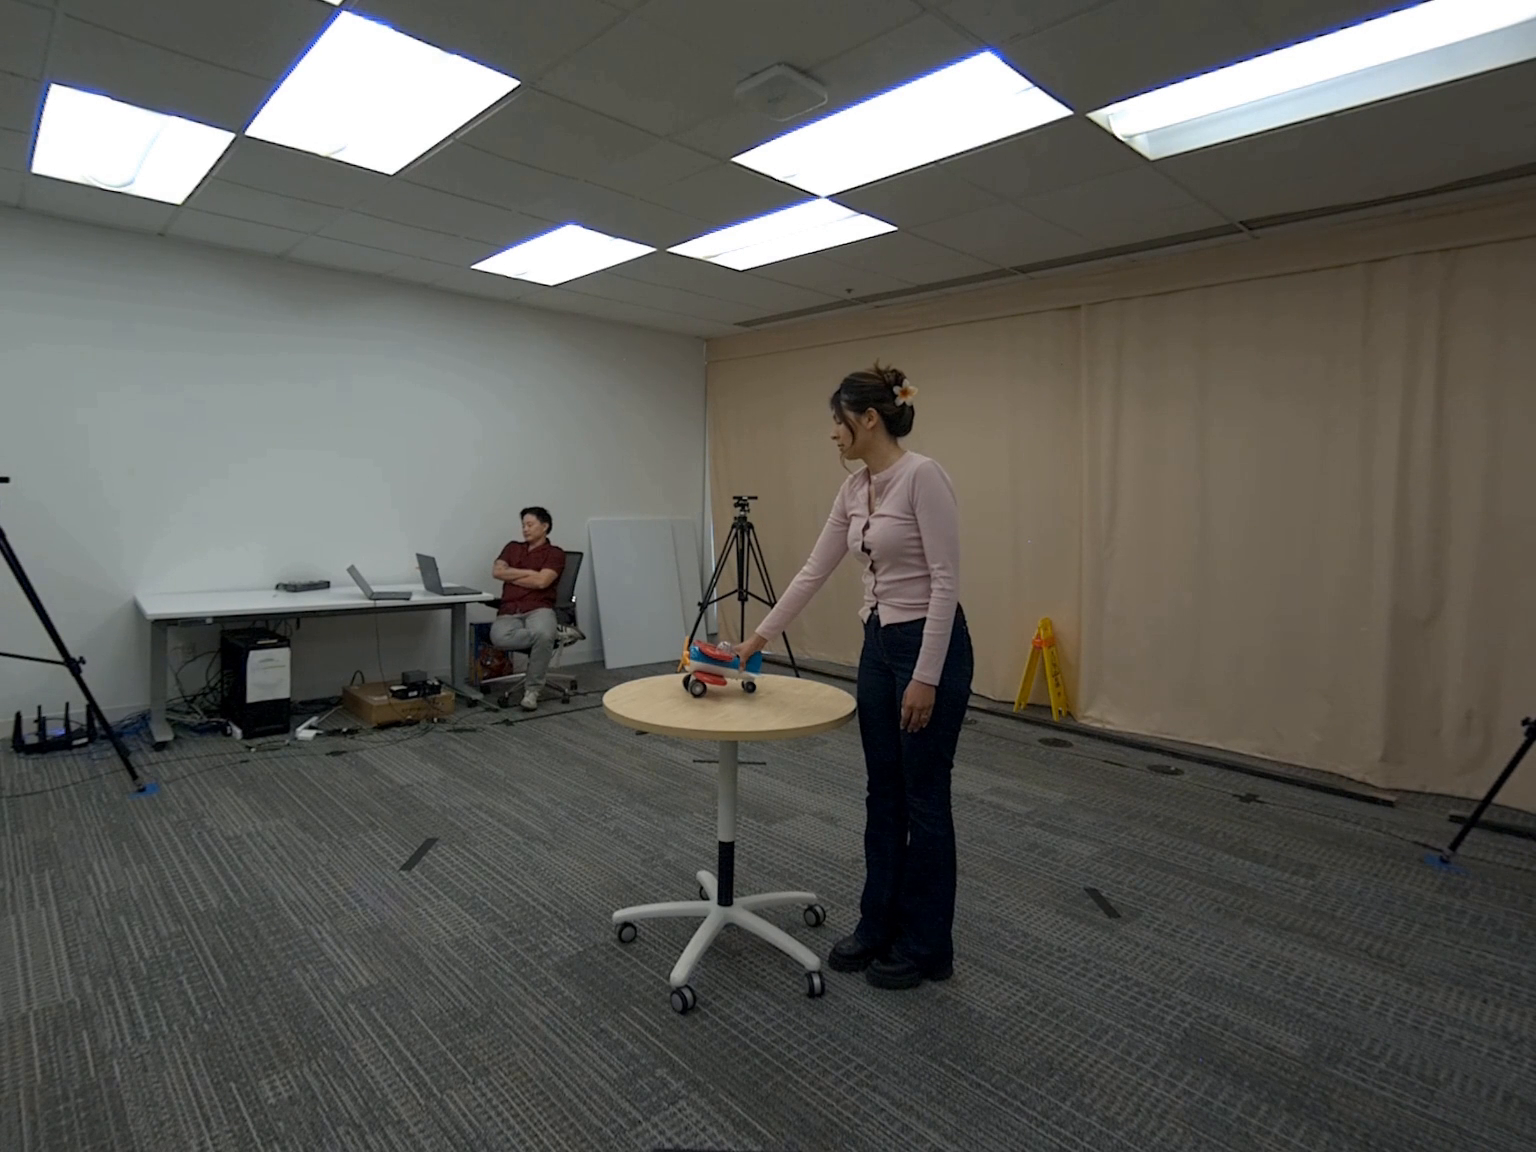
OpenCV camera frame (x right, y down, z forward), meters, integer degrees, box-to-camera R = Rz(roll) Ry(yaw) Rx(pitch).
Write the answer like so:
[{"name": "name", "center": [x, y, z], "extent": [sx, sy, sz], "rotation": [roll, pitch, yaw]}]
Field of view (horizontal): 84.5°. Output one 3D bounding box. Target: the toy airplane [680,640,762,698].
[{"name": "toy airplane", "center": [-0.153, 0.287, 2.628], "extent": [0.253, 0.156, 0.257], "rotation": [-2, 5, -41]}]
